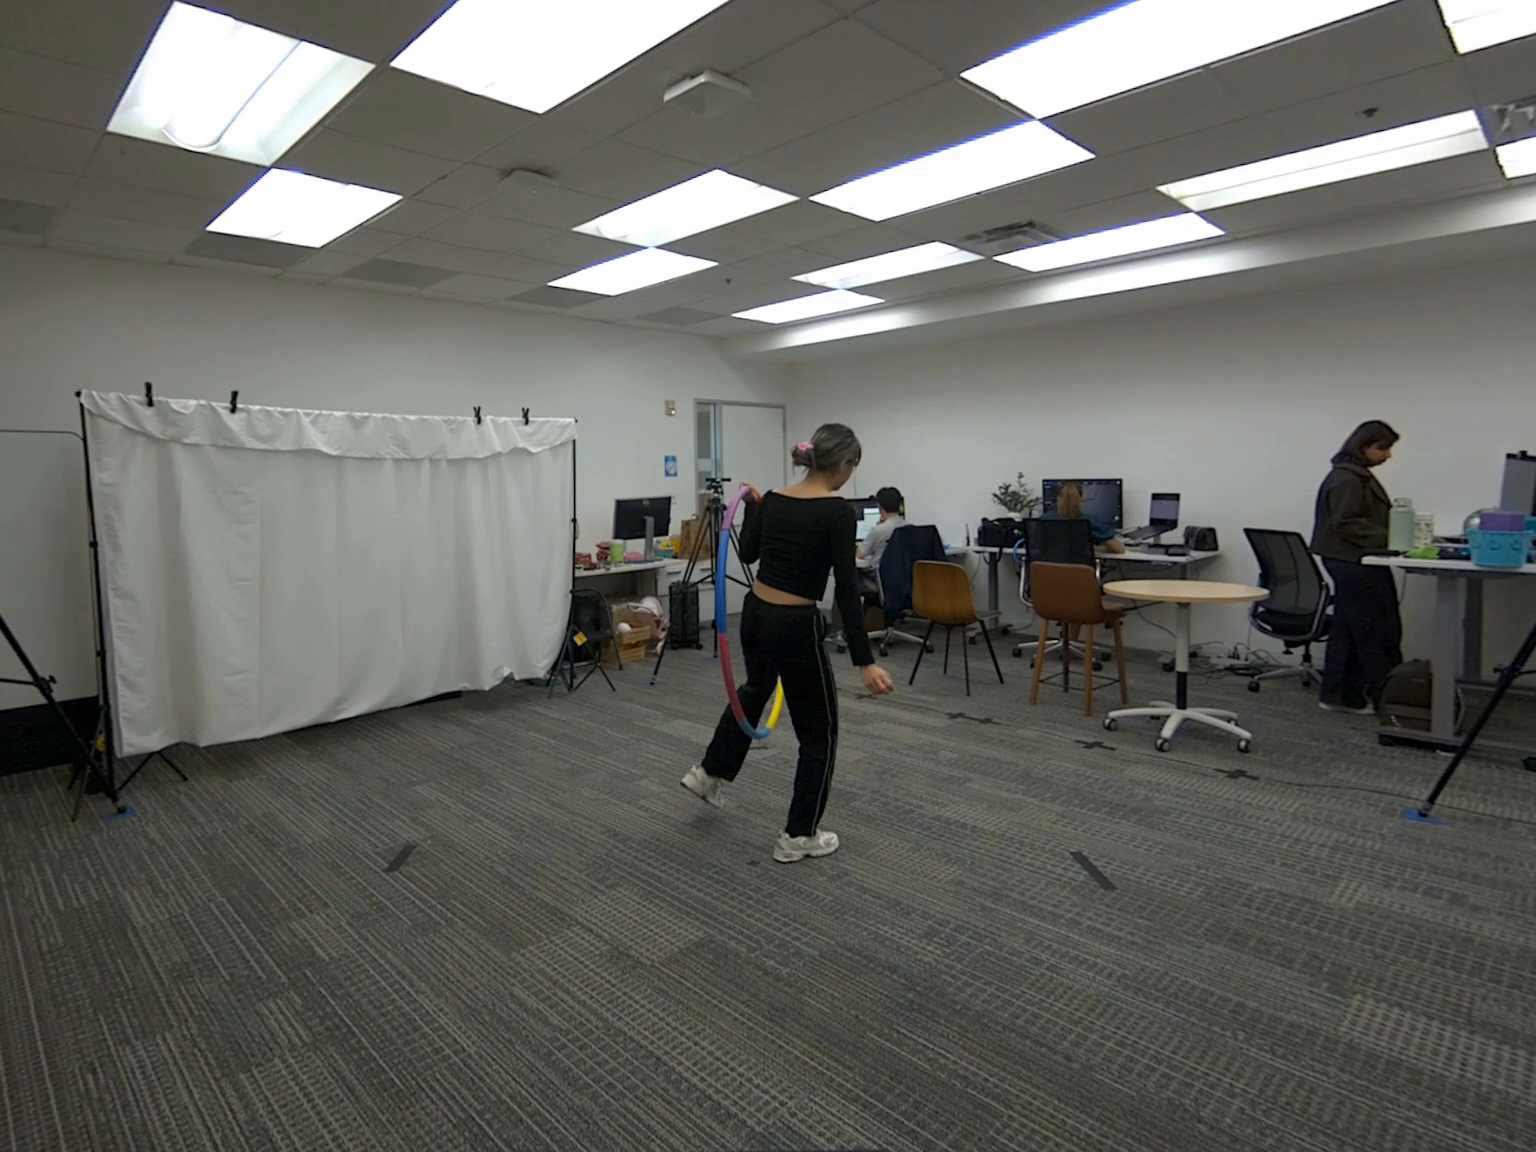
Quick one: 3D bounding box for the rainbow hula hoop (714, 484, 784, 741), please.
[{"bbox_3d":[-0.048,0.130,3.409,0.036,0.976,0.968,-5,4,14],"label":"rainbow hula hoop"}]
